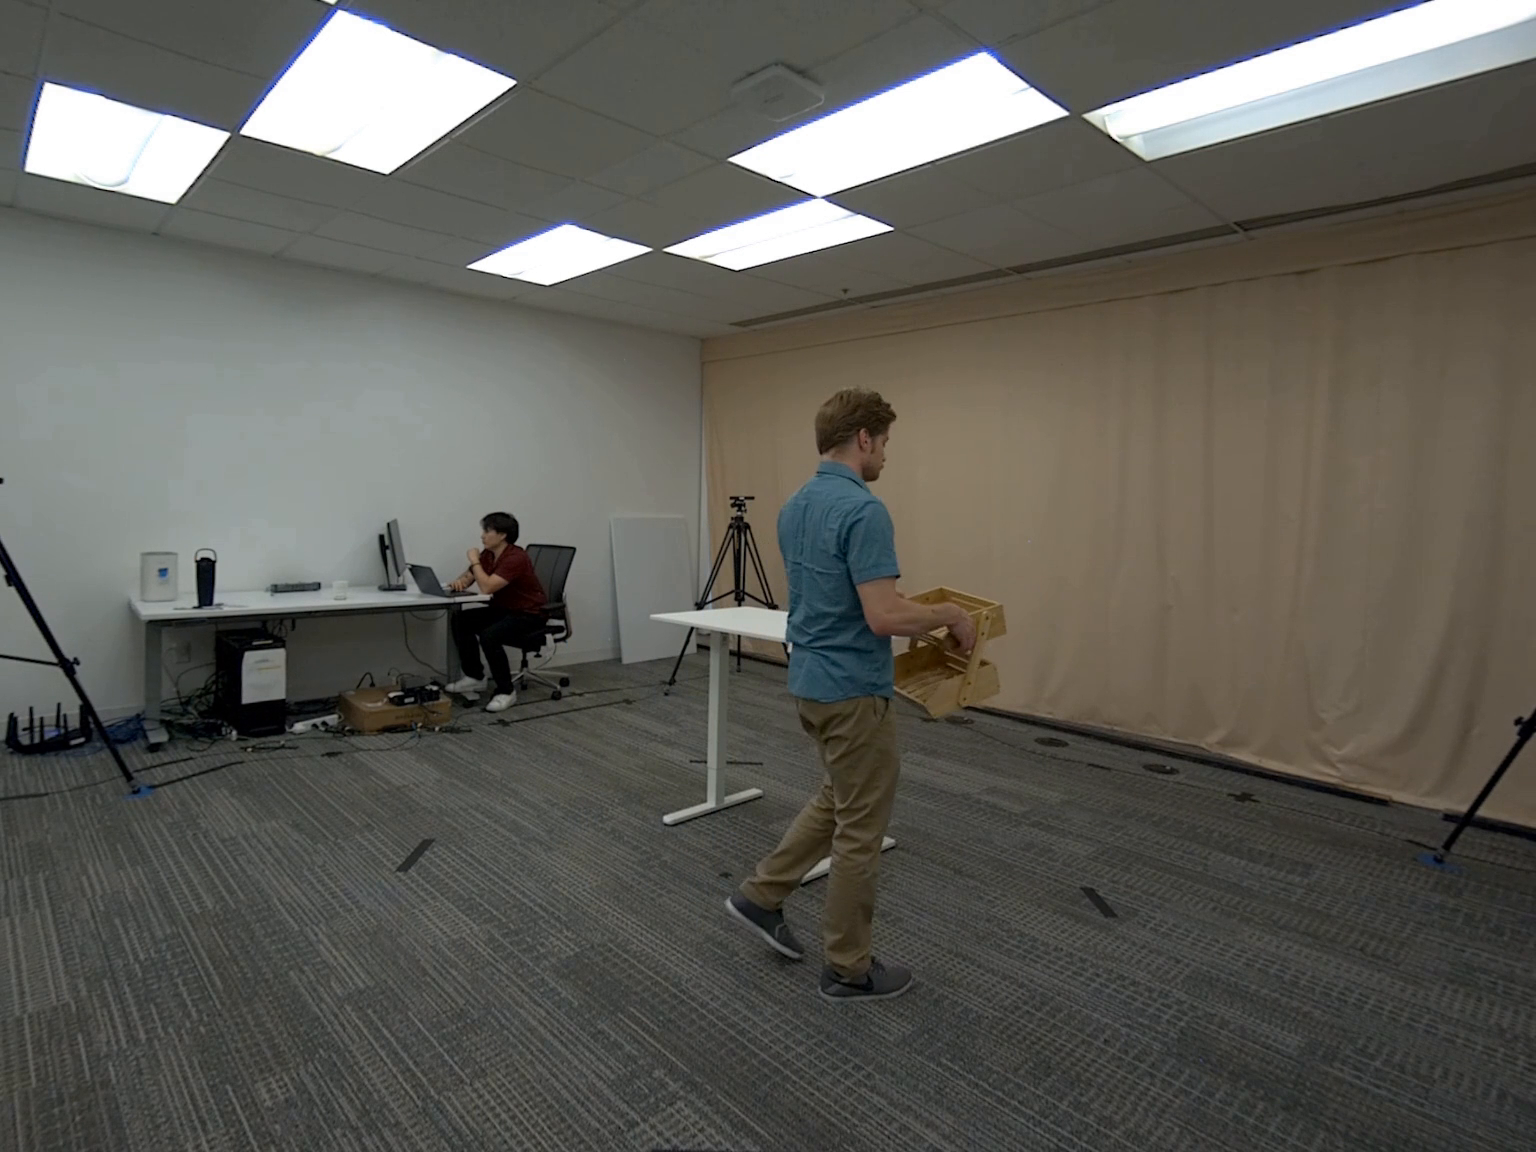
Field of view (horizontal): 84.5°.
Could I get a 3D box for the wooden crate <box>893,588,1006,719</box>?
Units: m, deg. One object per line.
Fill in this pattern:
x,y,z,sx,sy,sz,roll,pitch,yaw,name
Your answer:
0.495,0.220,2.515,0.299,0.270,0.331,-16,14,-19,wooden crate
